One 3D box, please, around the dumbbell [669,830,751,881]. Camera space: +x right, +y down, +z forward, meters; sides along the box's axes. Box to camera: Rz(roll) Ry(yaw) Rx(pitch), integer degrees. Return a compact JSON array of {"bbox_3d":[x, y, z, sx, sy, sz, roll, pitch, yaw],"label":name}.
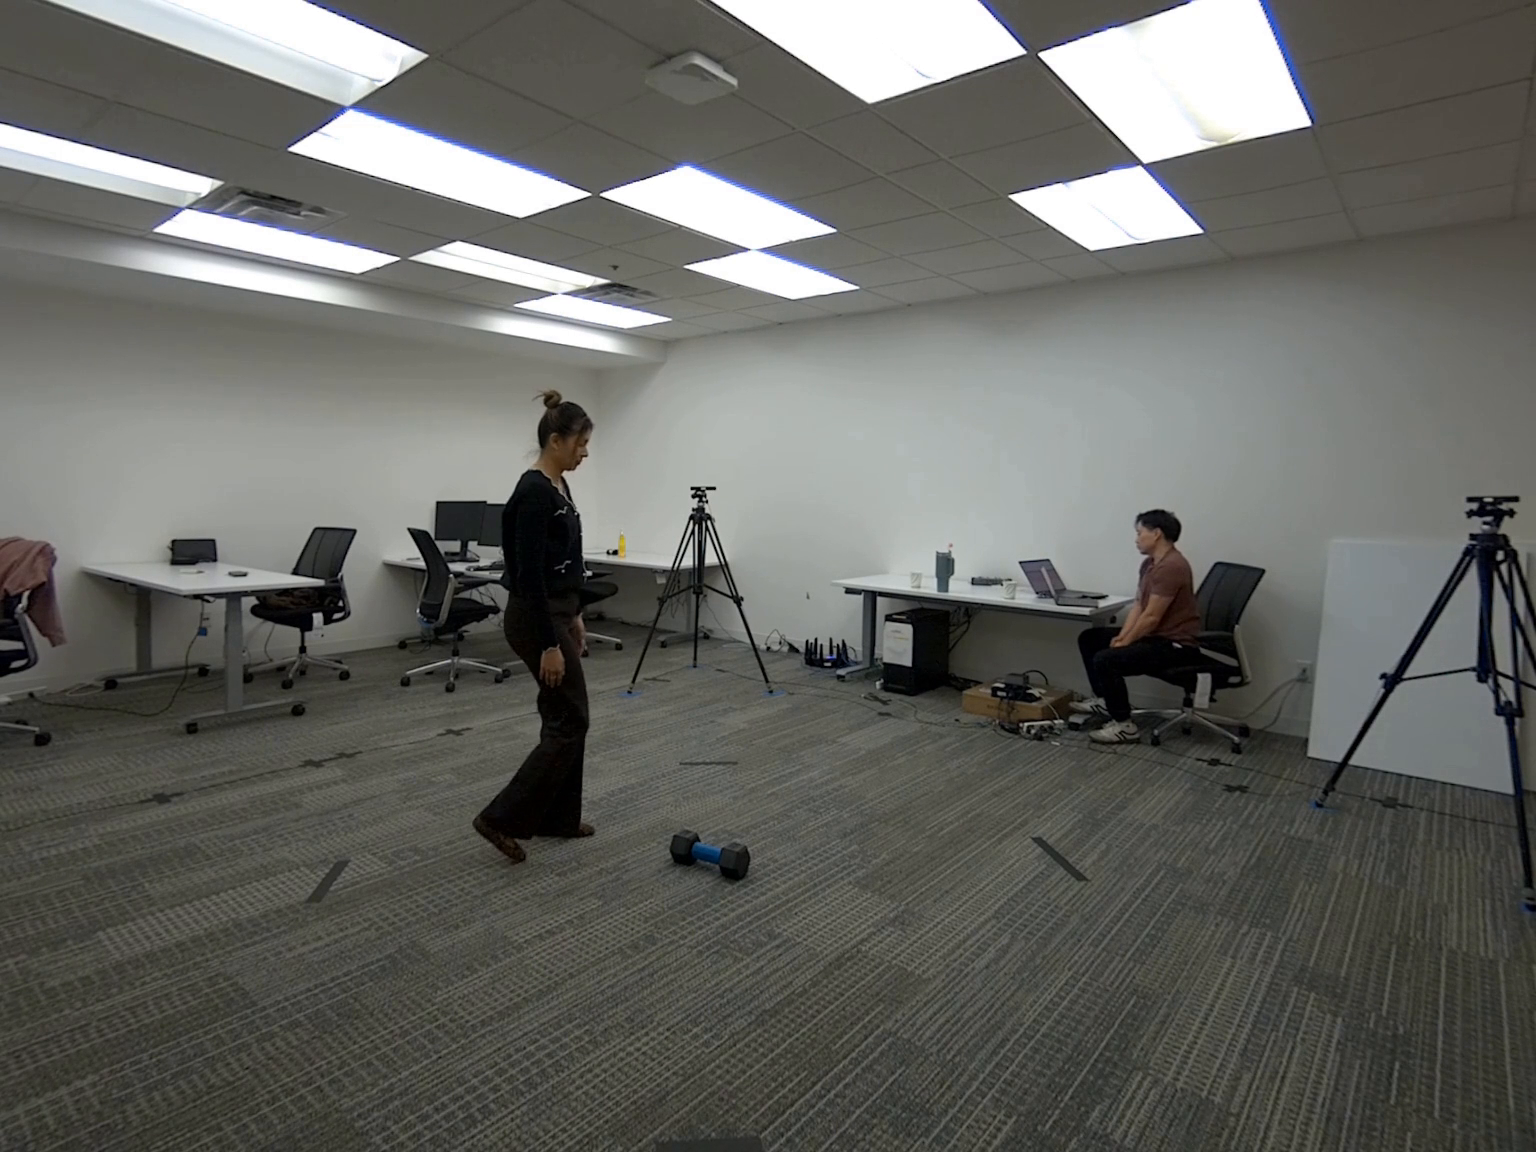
[{"bbox_3d":[-0.221,1.011,3.107,0.302,0.124,0.104,3,-23,30],"label":"dumbbell"}]
